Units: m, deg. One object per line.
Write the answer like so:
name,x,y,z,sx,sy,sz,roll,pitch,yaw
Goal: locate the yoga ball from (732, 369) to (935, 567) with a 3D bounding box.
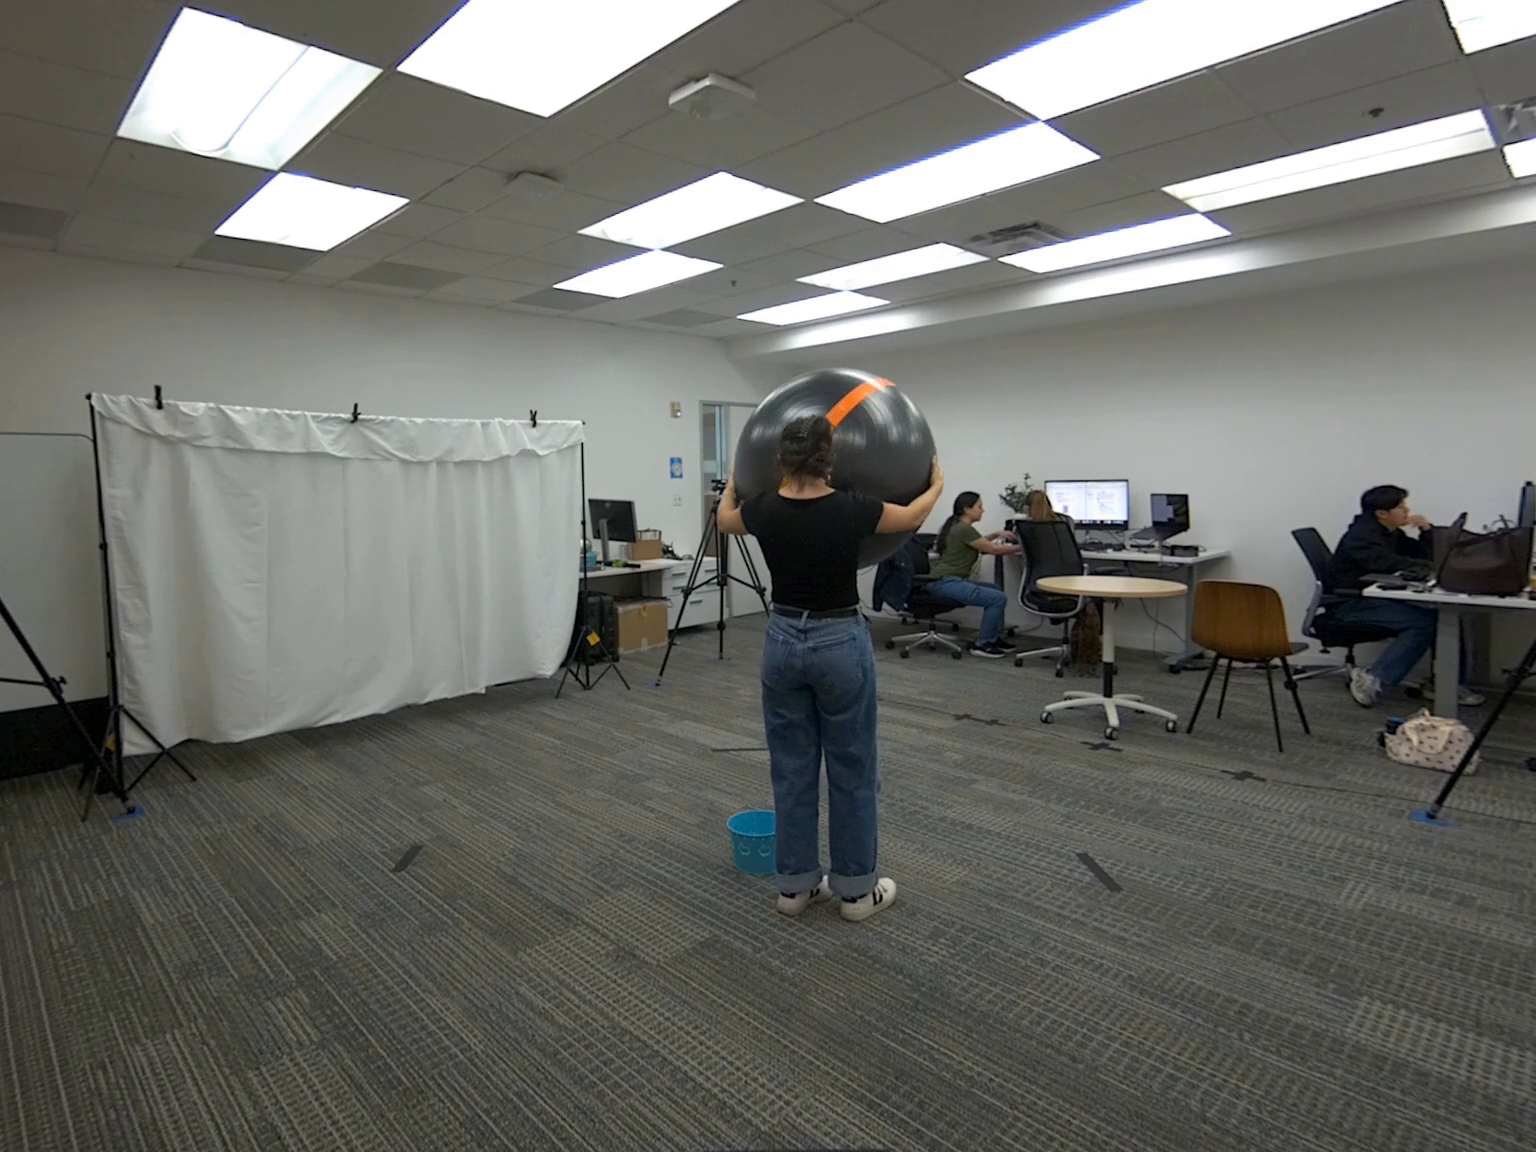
yoga ball,0.247,-0.385,3.202,0.757,0.755,0.762,-1,5,-2
